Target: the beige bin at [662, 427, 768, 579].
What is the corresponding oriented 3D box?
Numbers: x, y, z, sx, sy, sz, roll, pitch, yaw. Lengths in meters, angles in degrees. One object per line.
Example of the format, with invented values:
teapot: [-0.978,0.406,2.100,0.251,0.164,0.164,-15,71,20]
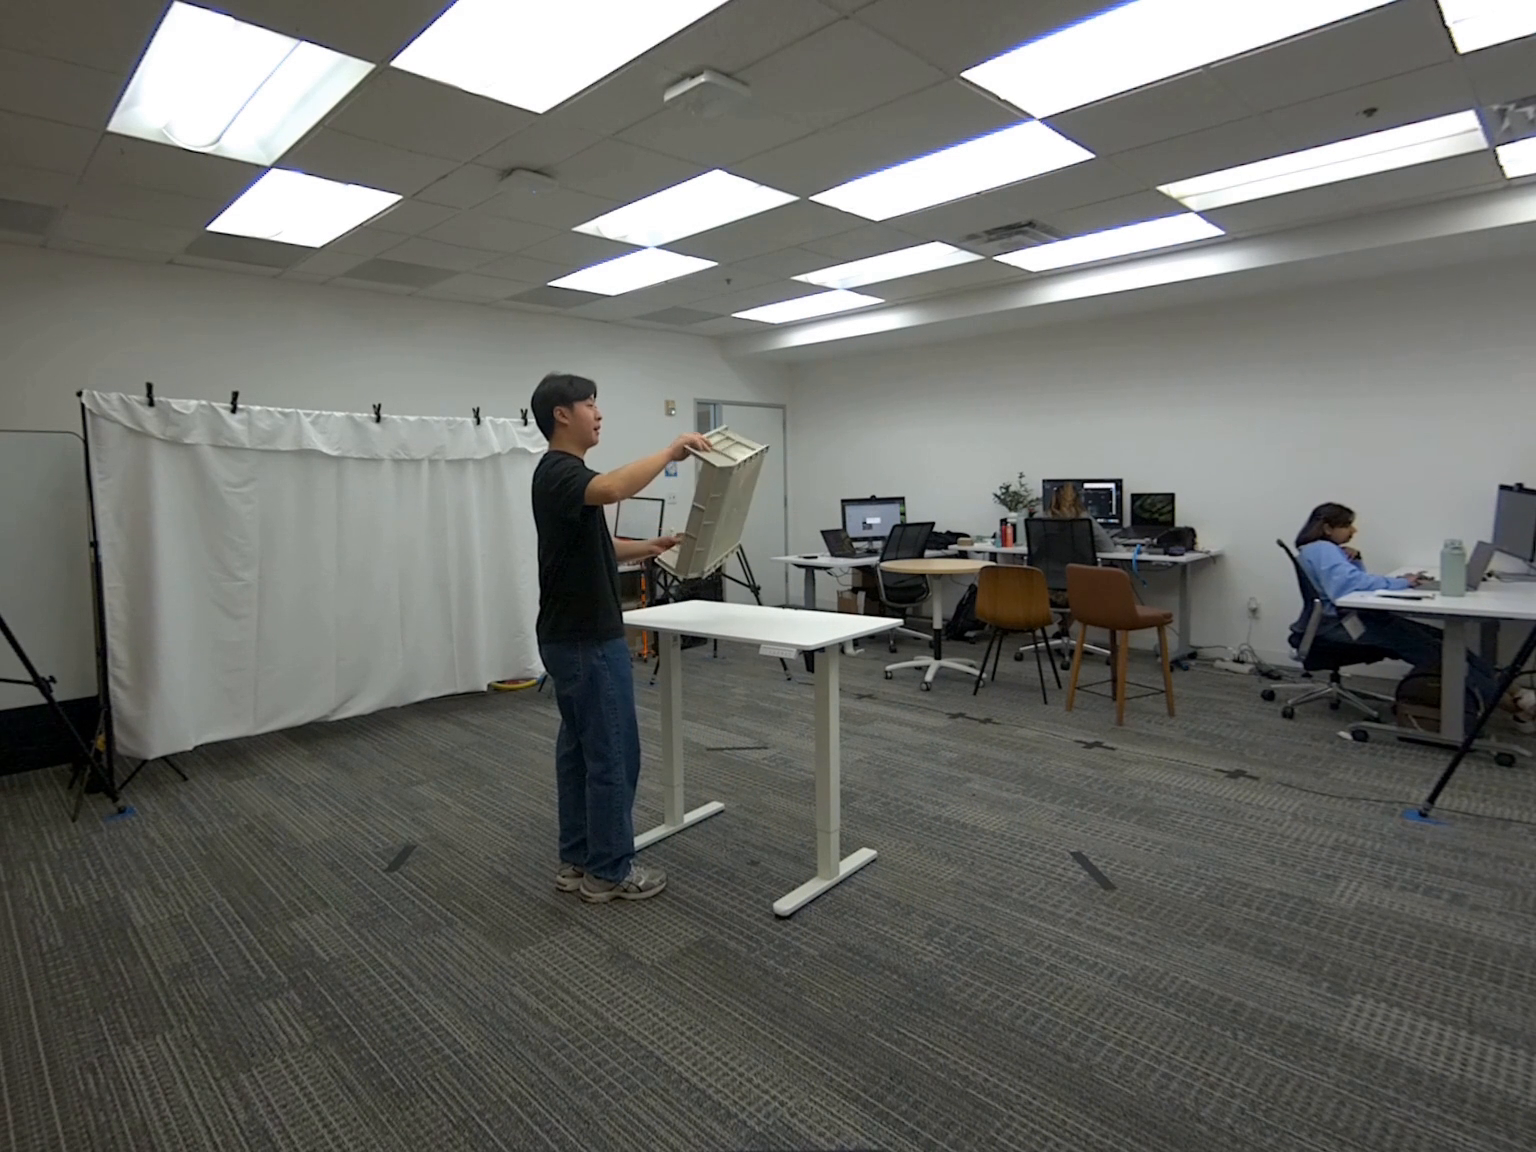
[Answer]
beige bin: [-0.190,-0.245,2.858,0.193,0.417,0.375,22,24,14]
